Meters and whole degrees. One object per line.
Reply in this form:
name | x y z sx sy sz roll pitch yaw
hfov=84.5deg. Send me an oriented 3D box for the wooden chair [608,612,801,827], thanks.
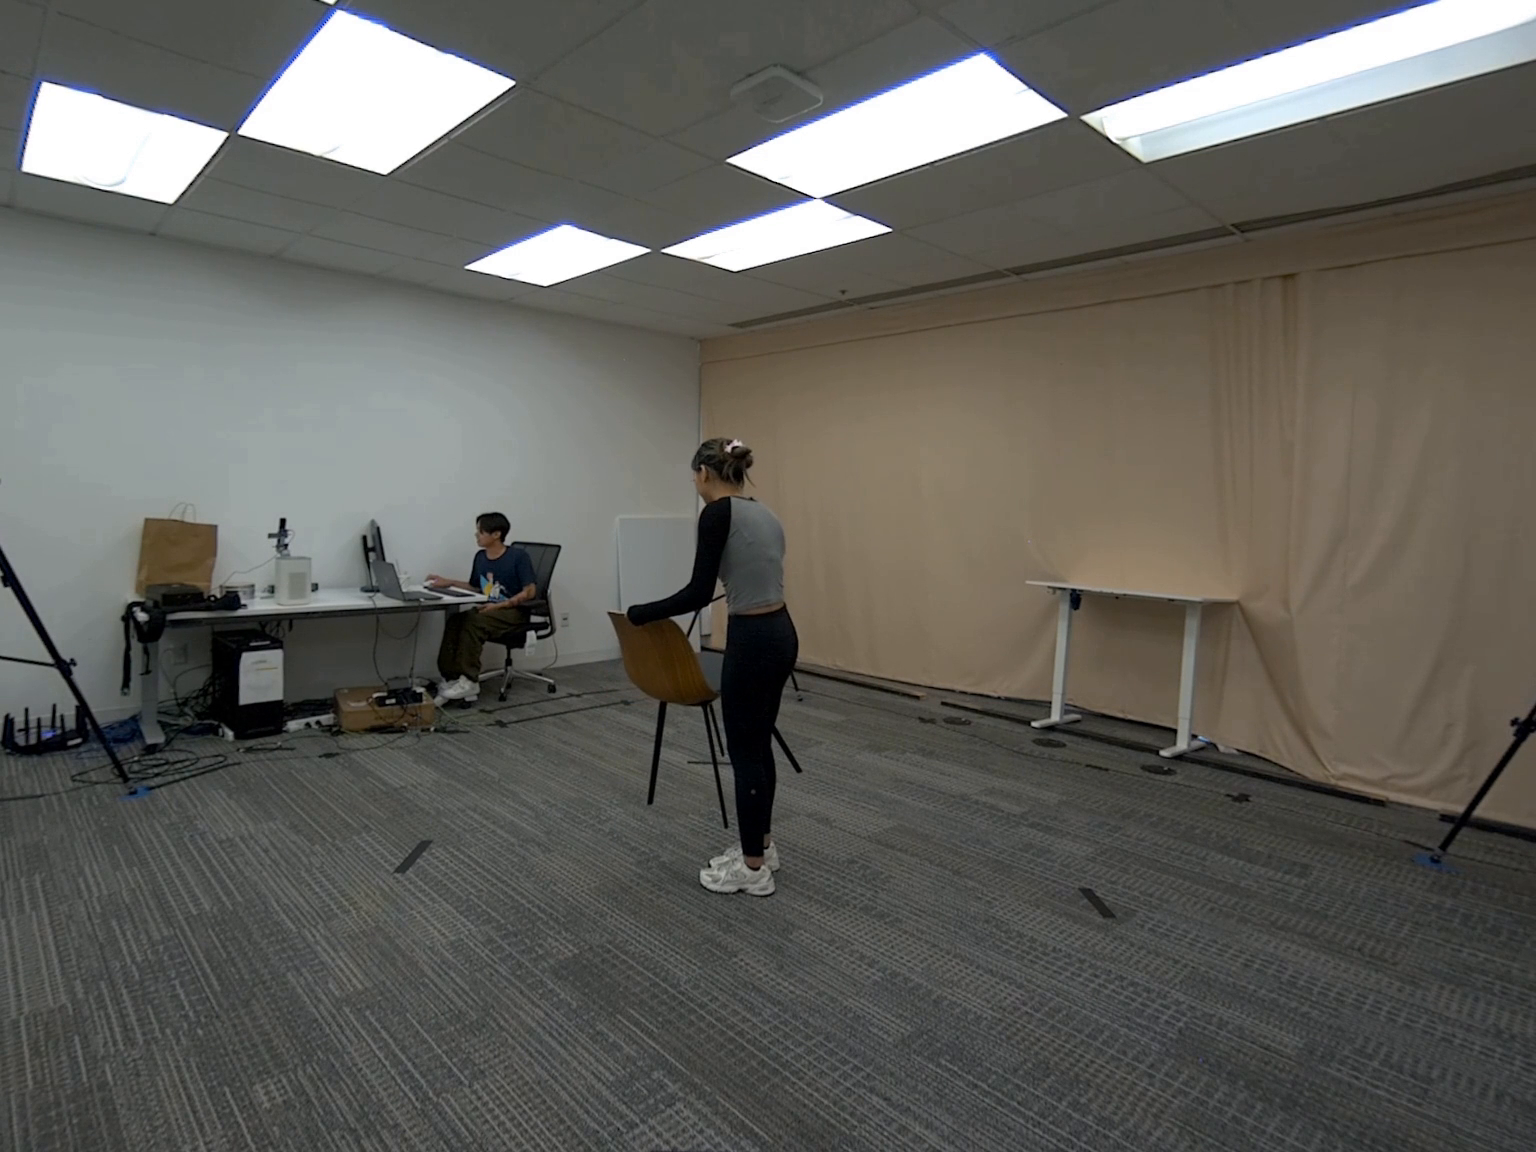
wooden chair | -0.265 0.449 3.314 0.489 0.867 0.517 -1 19 44
